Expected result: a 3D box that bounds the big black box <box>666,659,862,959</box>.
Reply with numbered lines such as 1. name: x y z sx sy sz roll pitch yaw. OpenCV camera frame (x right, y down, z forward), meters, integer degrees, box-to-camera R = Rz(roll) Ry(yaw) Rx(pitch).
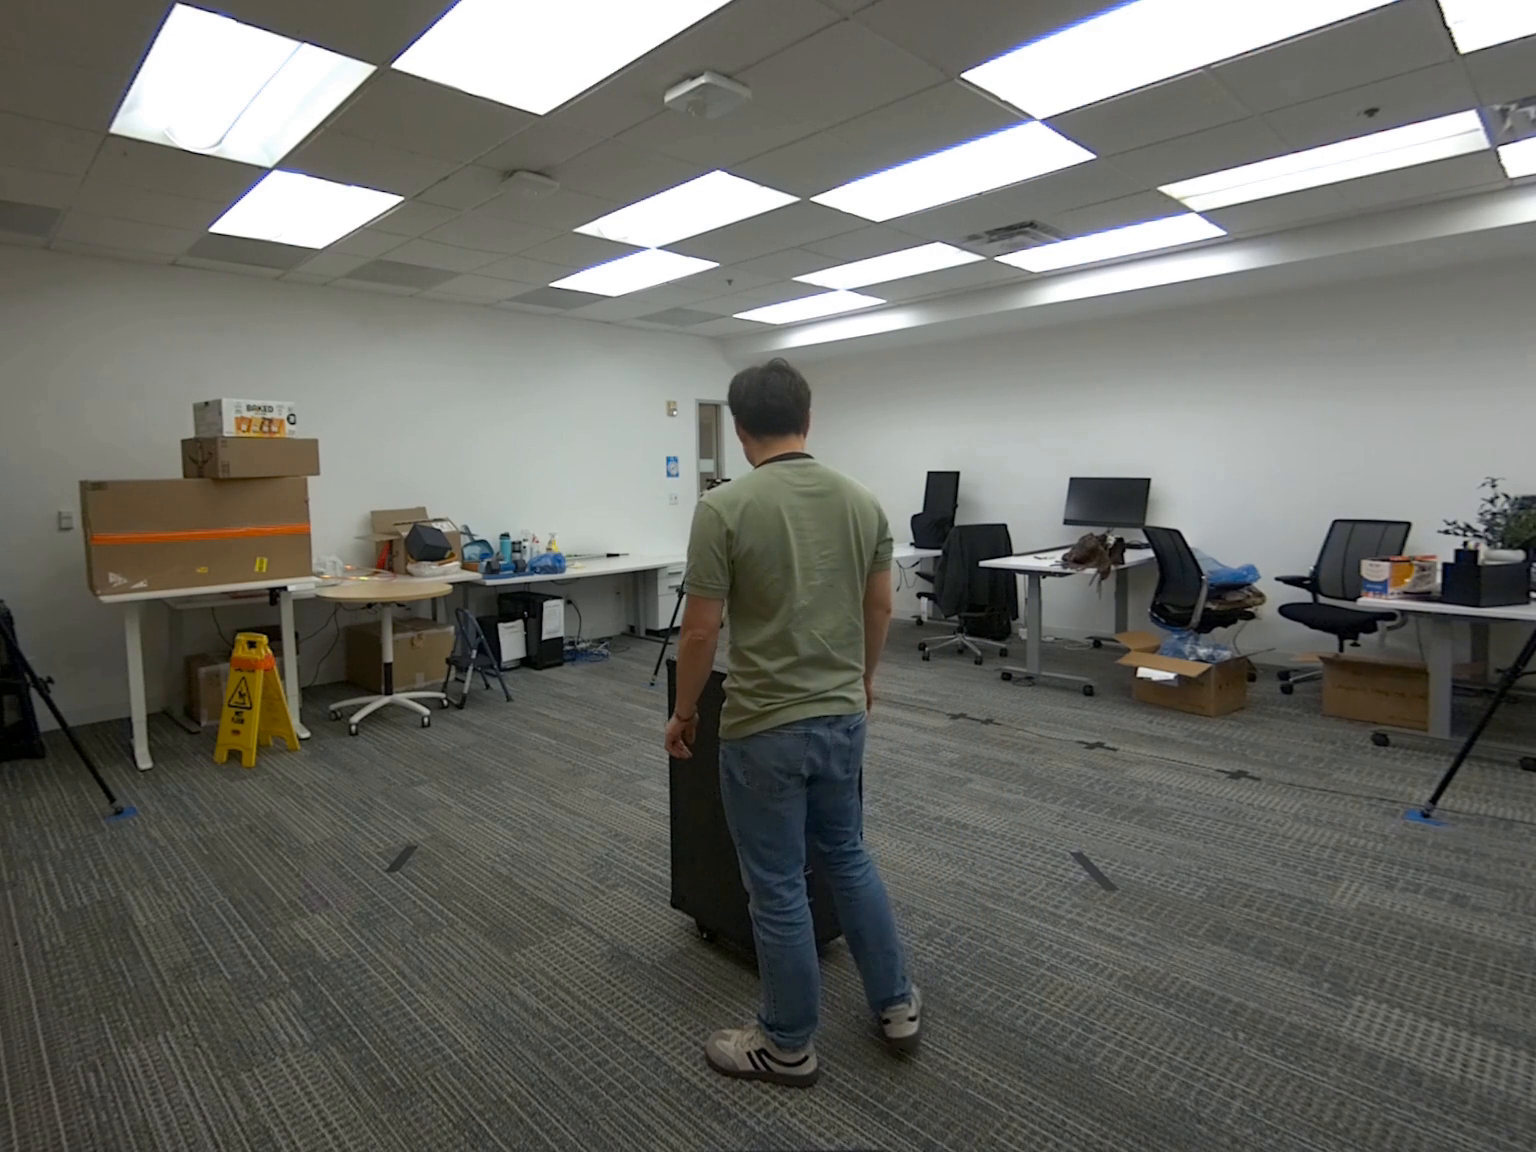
1. big black box: -0.007 0.679 2.590 0.385 0.859 0.537 -3 4 -42
